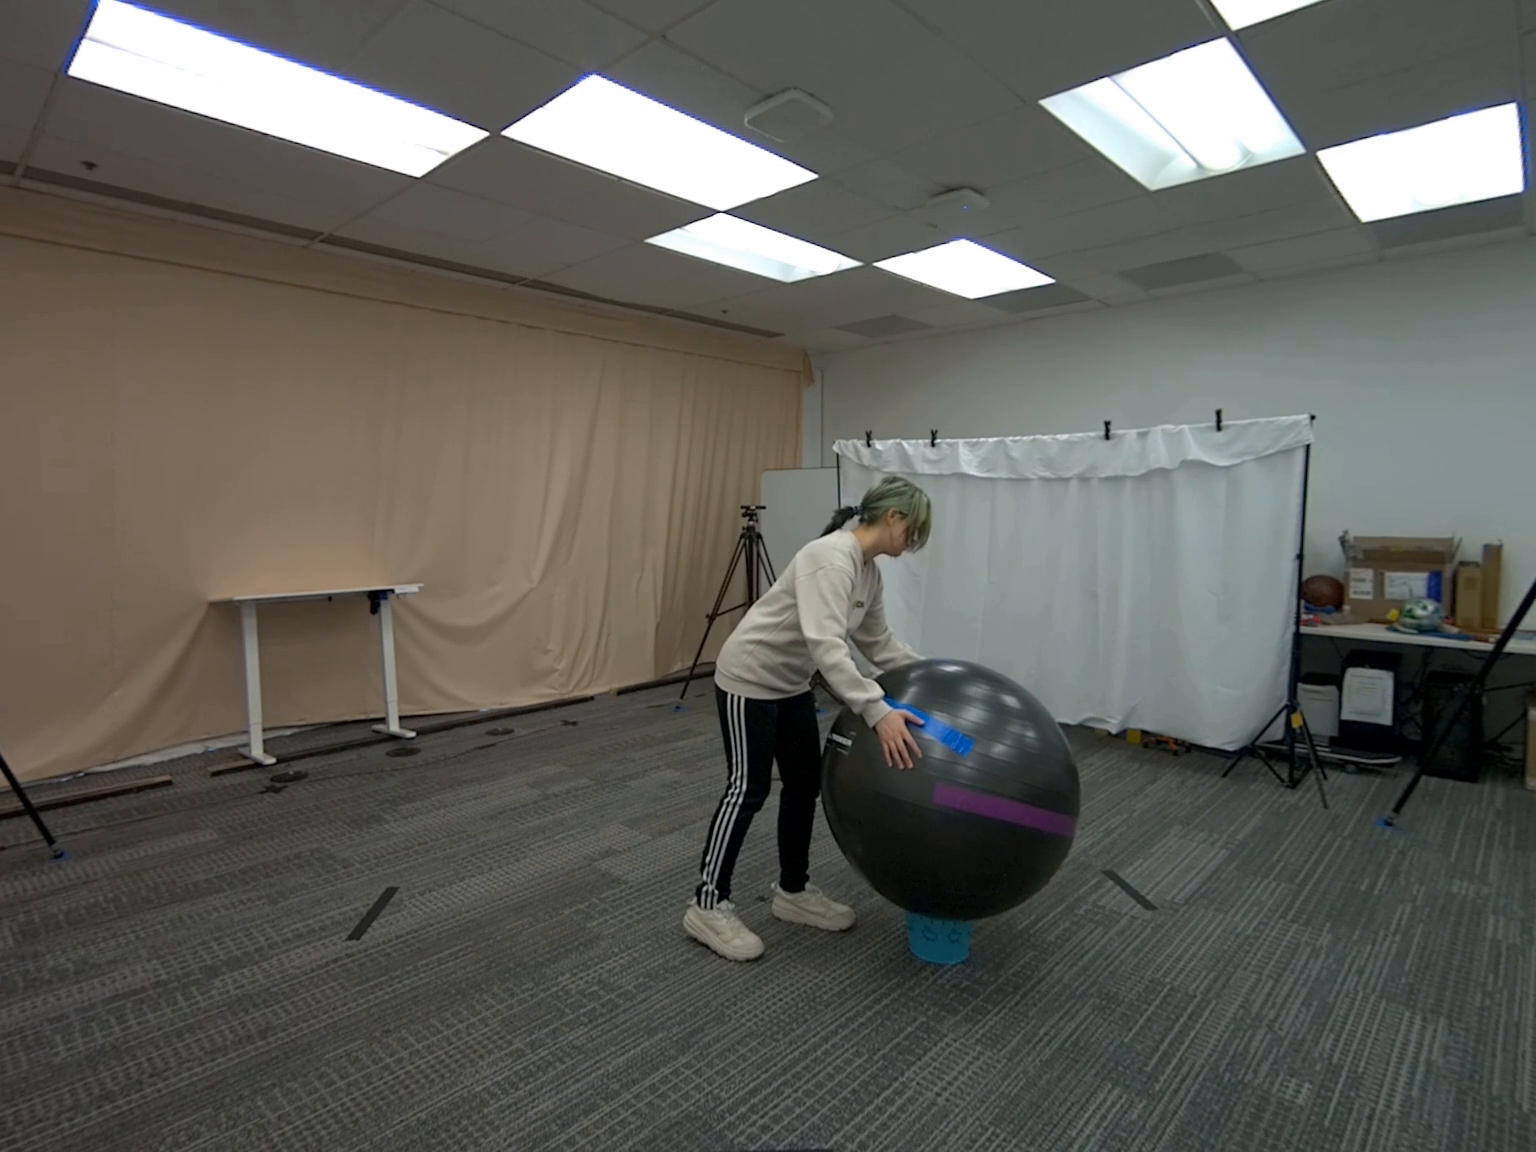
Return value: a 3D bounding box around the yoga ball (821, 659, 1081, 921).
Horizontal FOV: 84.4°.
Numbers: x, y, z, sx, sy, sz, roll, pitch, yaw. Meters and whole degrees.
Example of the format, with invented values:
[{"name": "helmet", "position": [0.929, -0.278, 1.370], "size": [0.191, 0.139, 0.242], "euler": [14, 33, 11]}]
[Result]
[{"name": "yoga ball", "position": [0.556, 0.642, 2.556], "size": [0.757, 0.756, 0.760], "euler": [0, 4, -2]}]
